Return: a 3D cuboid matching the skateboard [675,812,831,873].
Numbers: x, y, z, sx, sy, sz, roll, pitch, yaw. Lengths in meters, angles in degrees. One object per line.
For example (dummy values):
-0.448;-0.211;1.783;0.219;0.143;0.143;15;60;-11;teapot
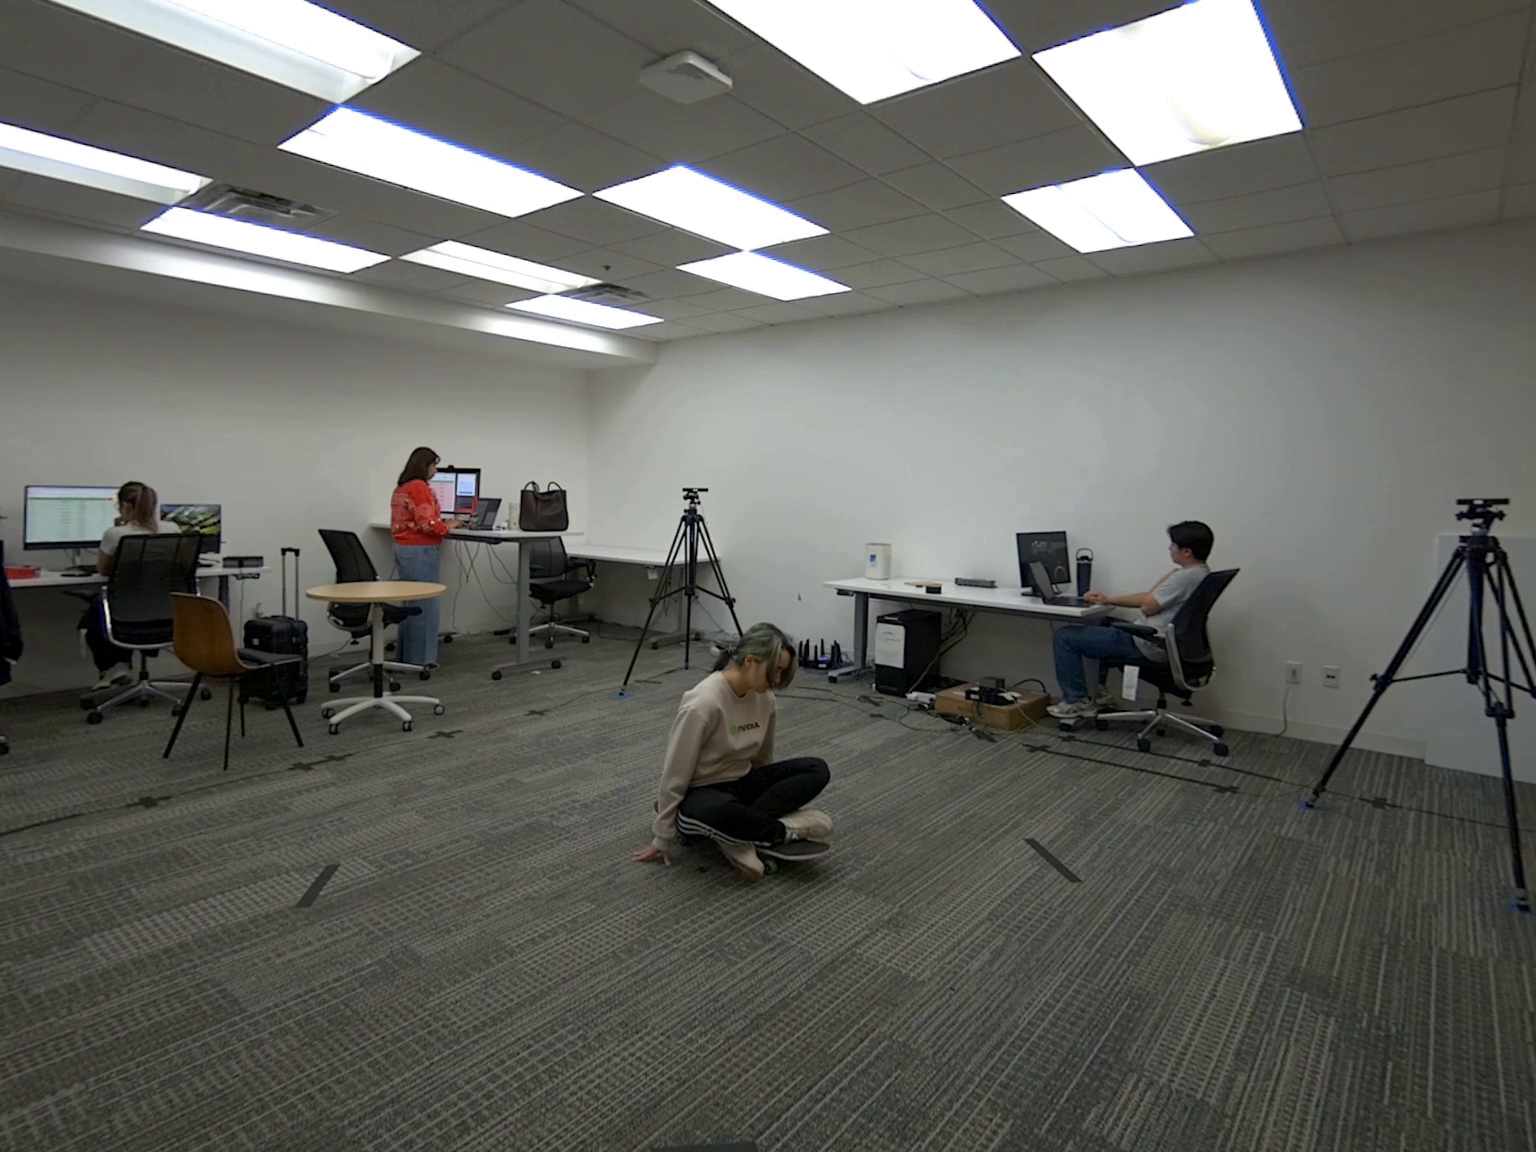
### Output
-0.119;0.998;3.254;0.810;0.110;0.188;3;3;35;skateboard
